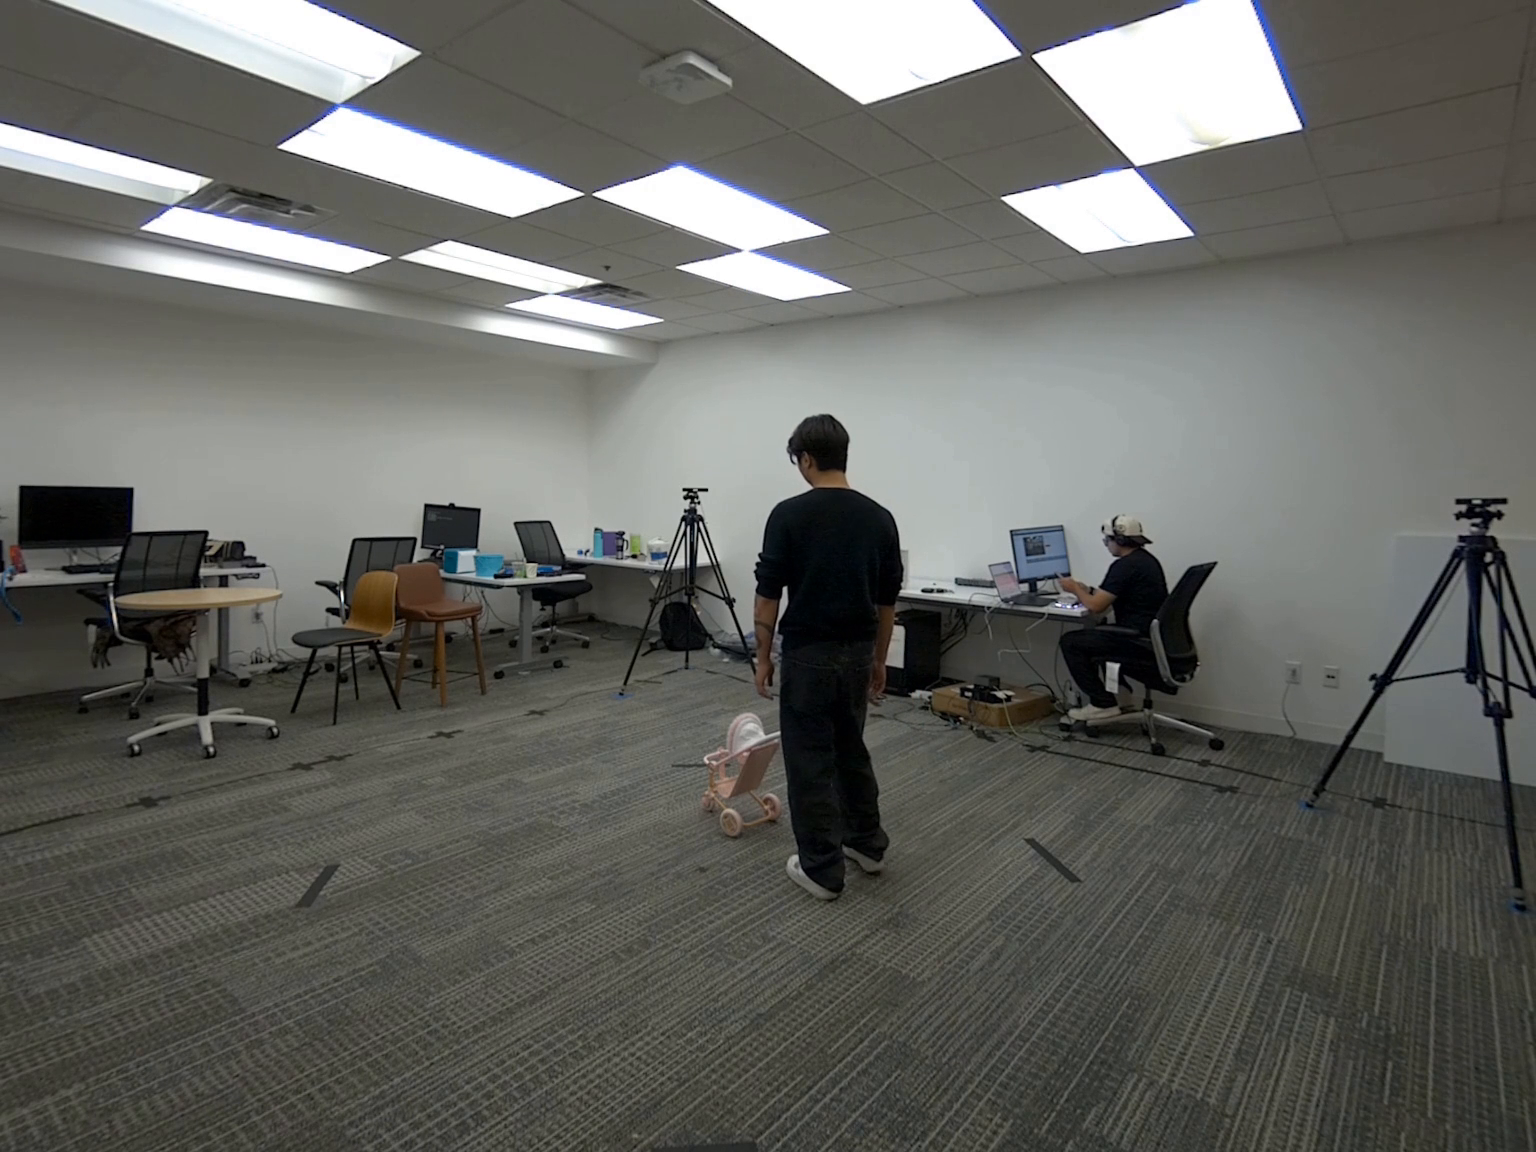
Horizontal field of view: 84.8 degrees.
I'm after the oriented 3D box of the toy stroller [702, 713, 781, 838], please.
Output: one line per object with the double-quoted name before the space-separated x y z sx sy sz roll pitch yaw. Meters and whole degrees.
"toy stroller" -0.119 0.804 3.541 0.273 0.529 0.355 -2 20 -44
